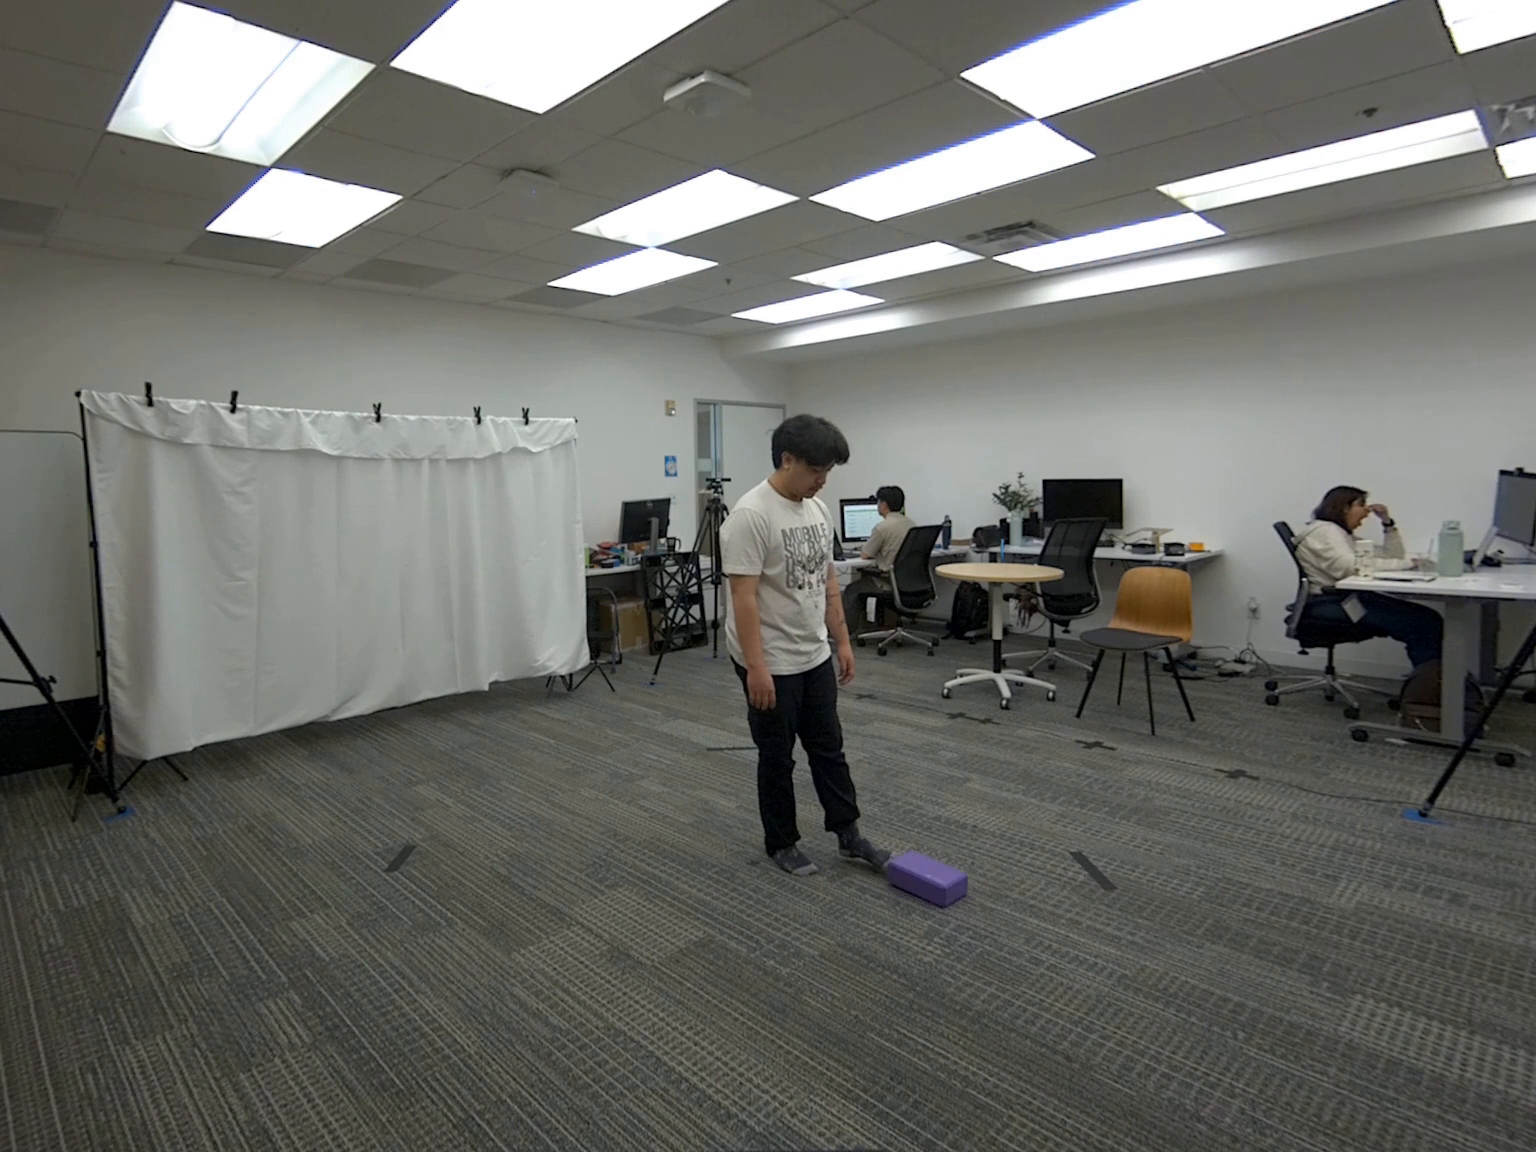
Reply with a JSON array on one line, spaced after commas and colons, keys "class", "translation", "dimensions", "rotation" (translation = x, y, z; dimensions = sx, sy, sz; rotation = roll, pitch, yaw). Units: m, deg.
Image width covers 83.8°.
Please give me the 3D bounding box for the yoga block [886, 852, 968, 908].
[{"class": "yoga block", "translation": [0.535, 1.016, 2.874], "dimensions": [0.237, 0.076, 0.145], "rotation": [9, 10, 44]}]
